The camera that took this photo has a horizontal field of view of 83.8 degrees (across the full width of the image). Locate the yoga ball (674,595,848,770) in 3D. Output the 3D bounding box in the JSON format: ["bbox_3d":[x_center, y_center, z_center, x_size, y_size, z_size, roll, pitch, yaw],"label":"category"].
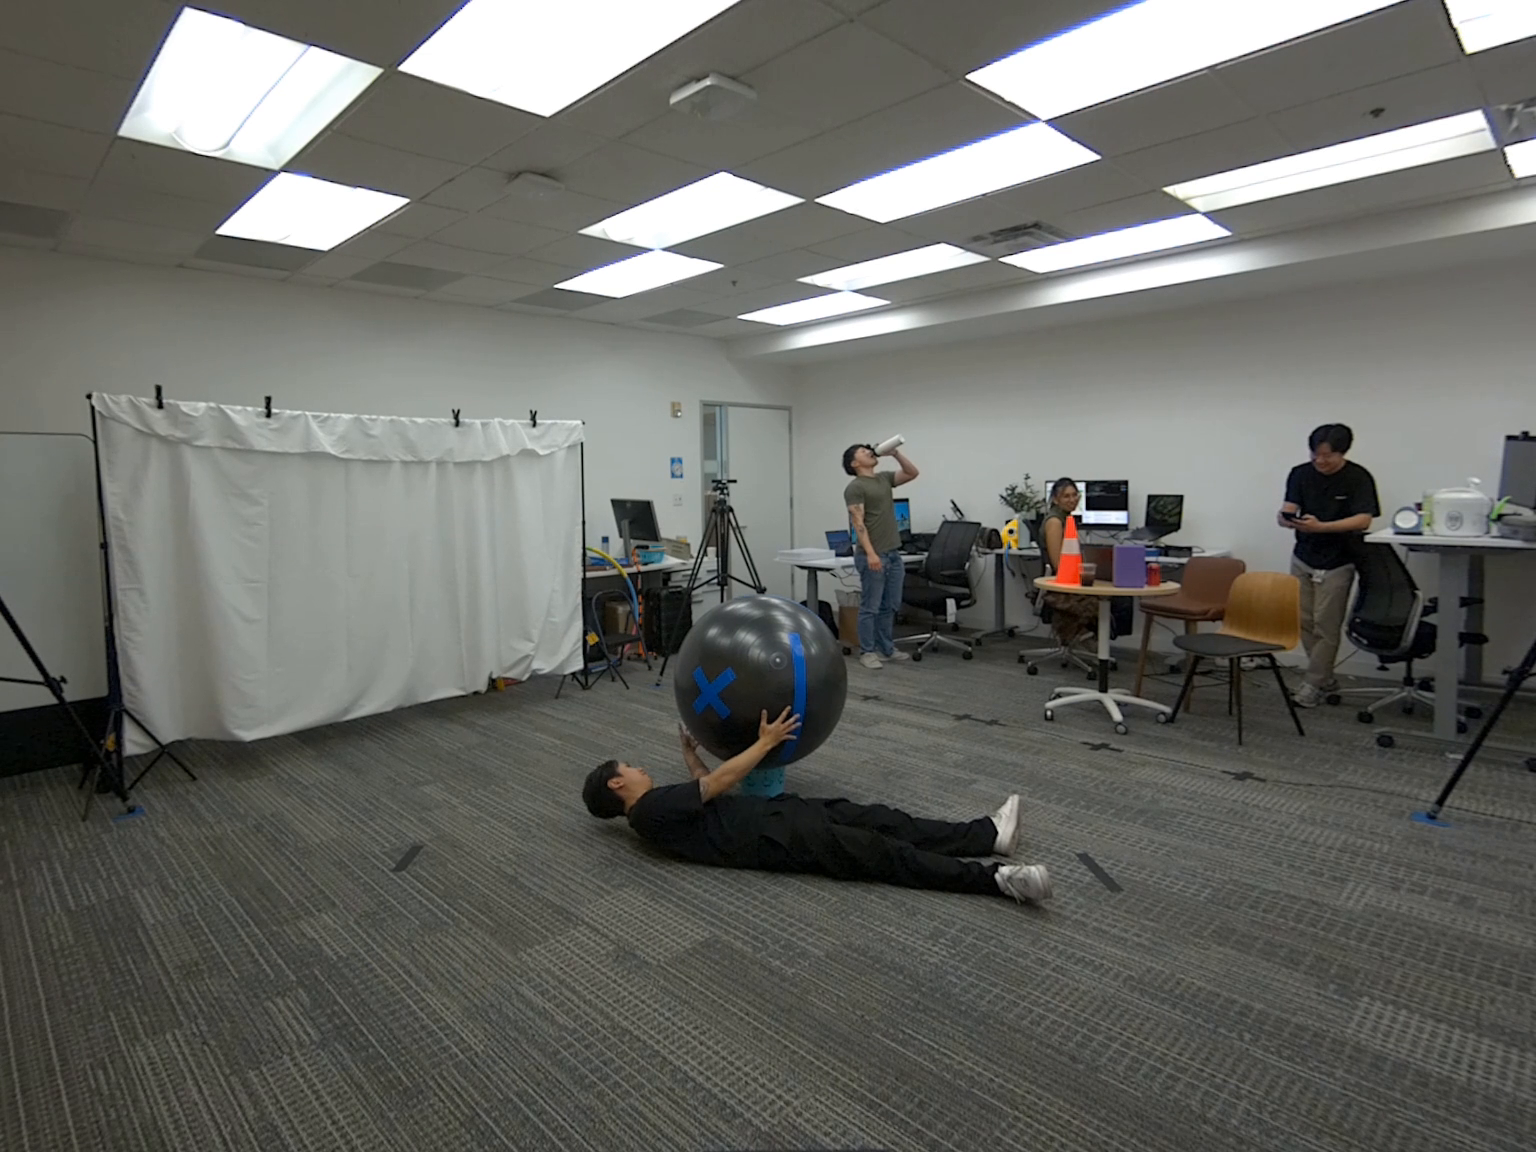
[{"bbox_3d":[-0.037,0.463,3.766,0.757,0.755,0.762,-1,5,-2],"label":"yoga ball"}]
